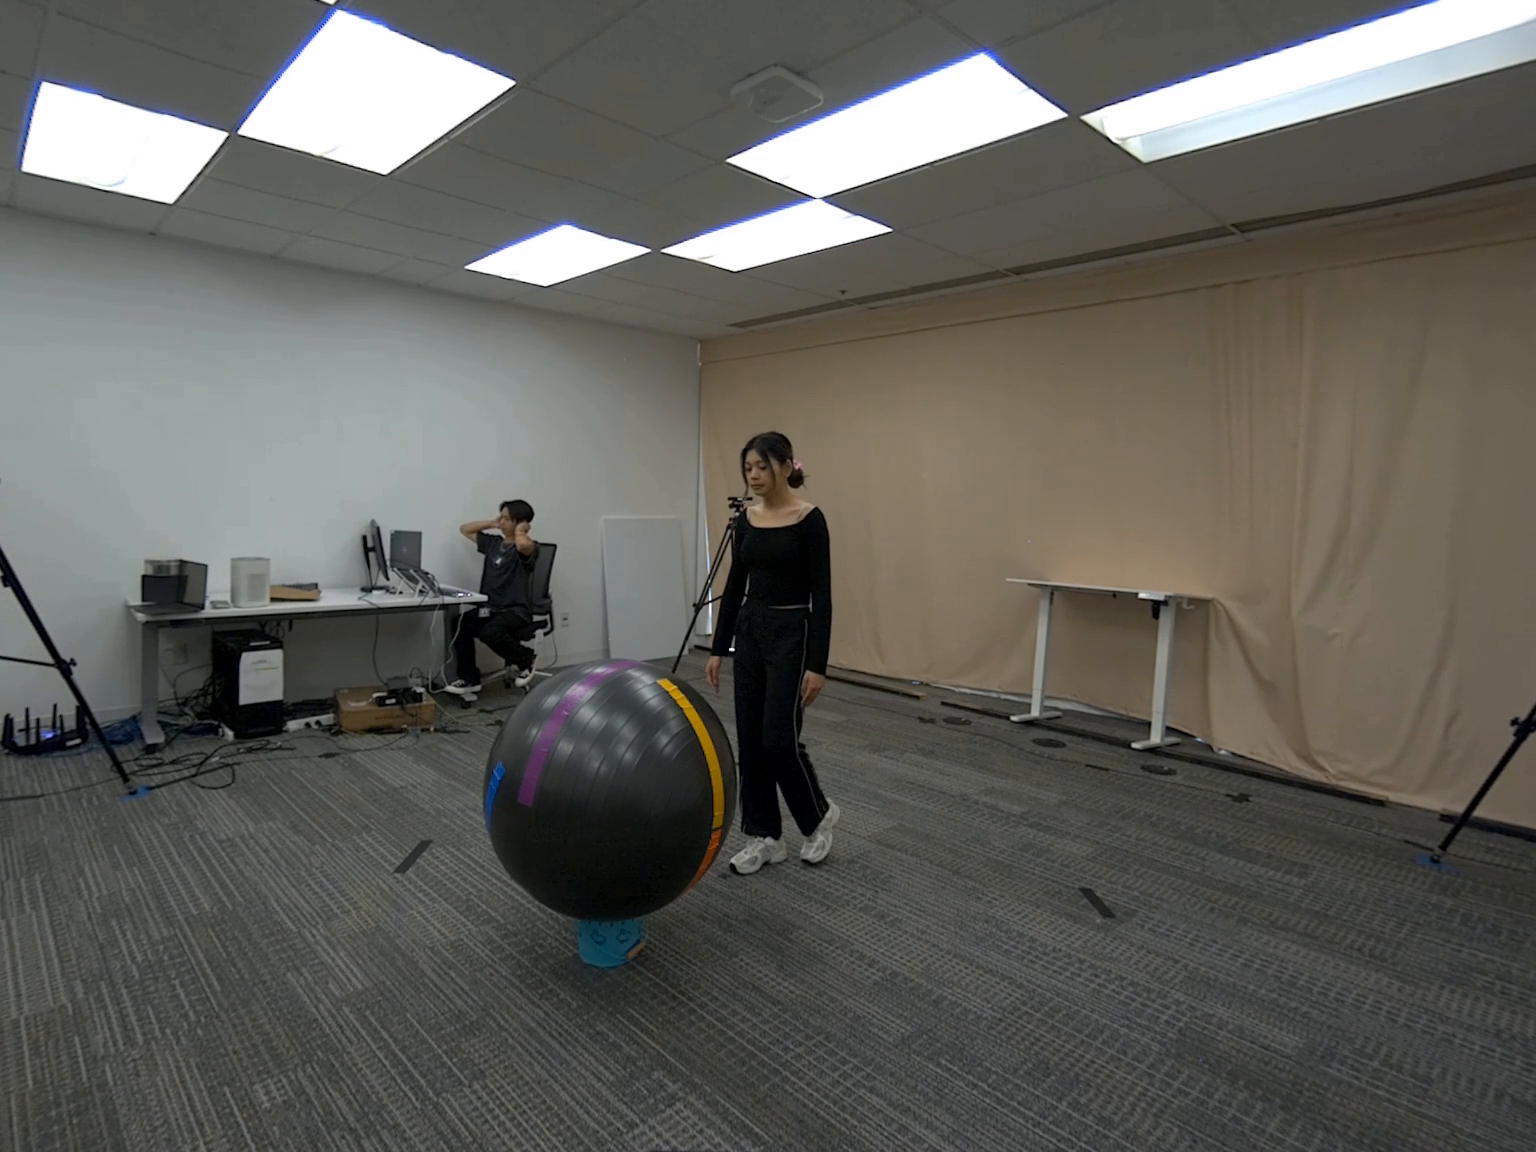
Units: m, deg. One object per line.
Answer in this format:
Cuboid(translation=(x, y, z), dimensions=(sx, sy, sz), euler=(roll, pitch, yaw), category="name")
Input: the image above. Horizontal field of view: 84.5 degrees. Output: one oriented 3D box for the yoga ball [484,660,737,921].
Cuboid(translation=(-0.474, 0.638, 2.546), dimensions=(0.757, 0.756, 0.761), euler=(1, 4, -1), category="yoga ball")
